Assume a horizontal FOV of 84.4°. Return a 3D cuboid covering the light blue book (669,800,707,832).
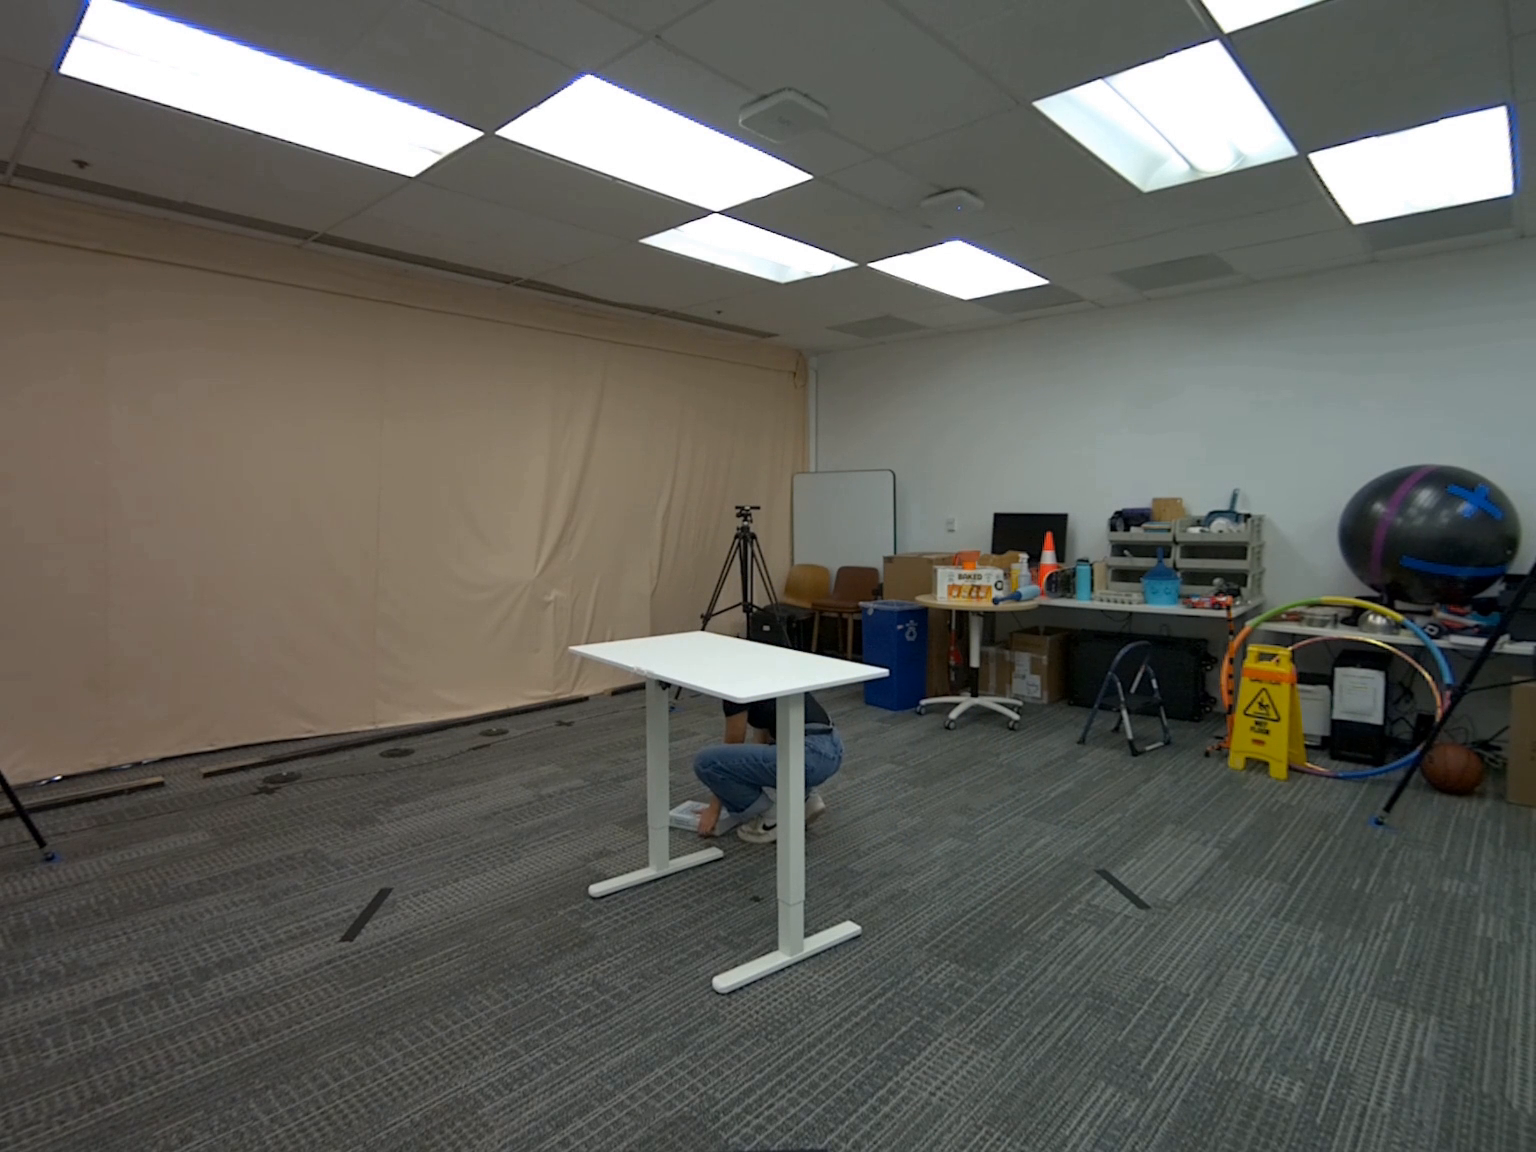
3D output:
[{"bbox_3d":[-0.285,1.060,3.696,0.268,0.059,0.186,1,4,29],"label":"light blue book"}]
